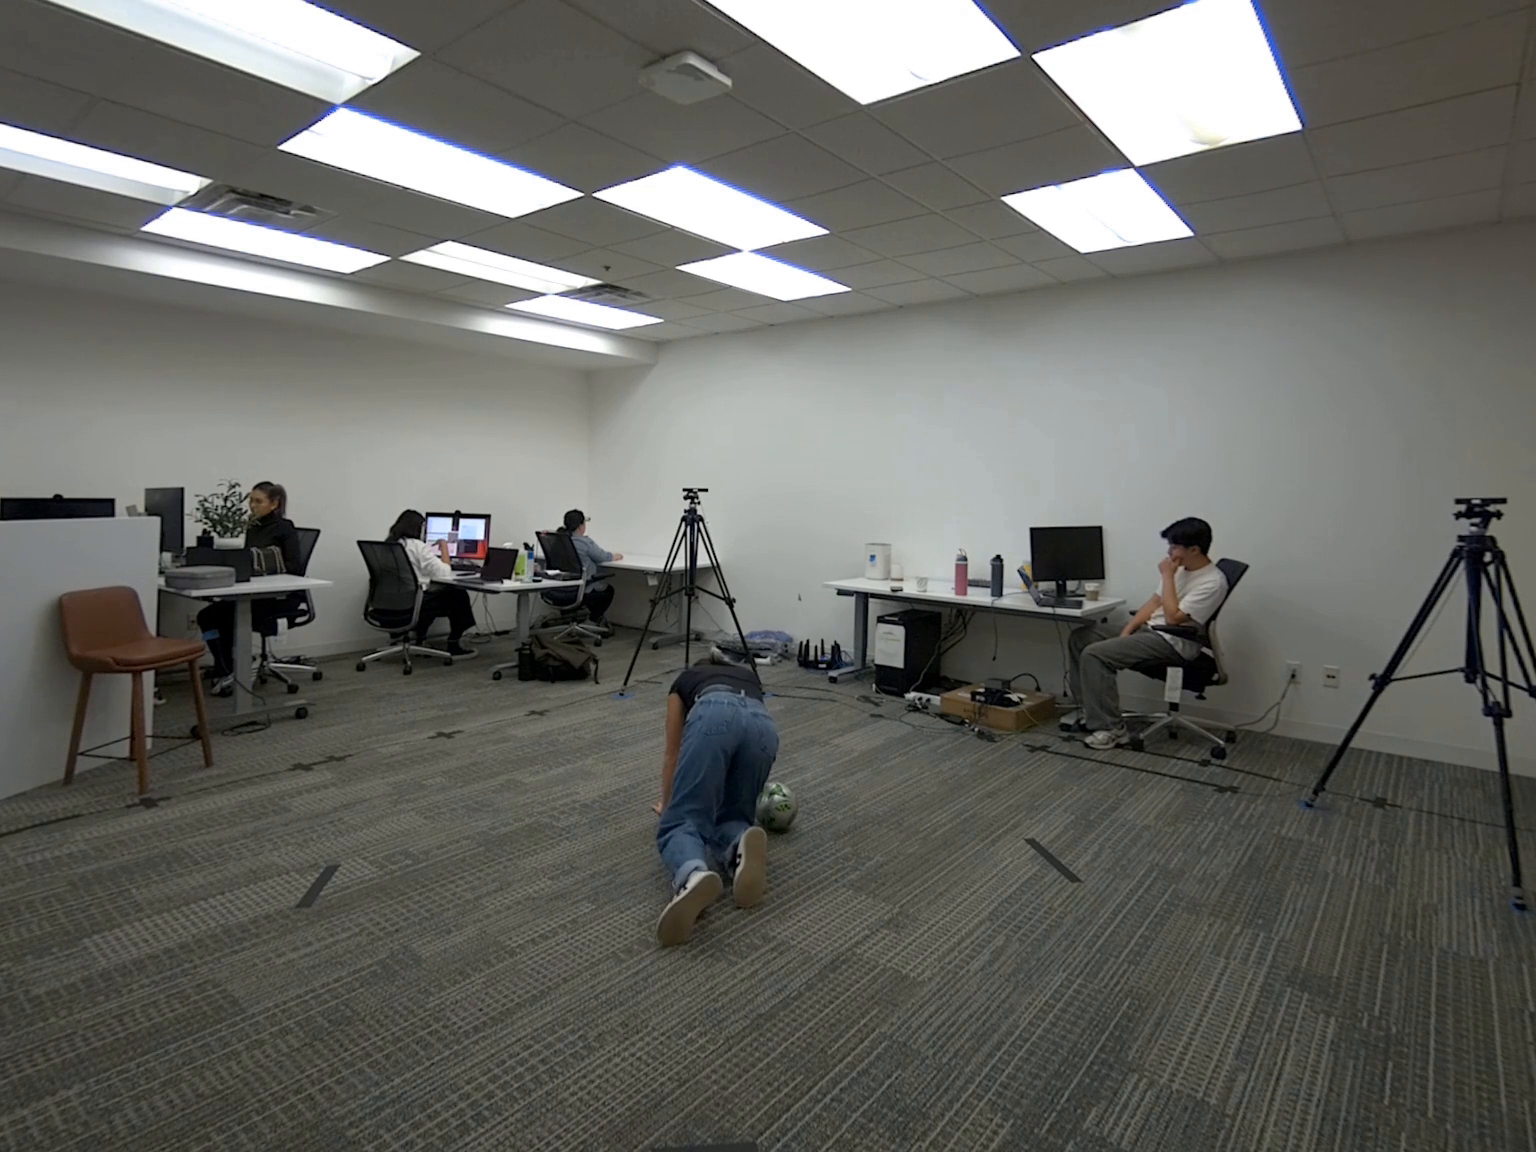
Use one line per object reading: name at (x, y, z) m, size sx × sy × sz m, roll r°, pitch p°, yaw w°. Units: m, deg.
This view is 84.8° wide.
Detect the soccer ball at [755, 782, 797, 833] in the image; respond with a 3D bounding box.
soccer ball at (0.038, 0.933, 3.498) m, size 0.187 × 0.187 × 0.188 m, roll 1°, pitch 4°, yaw -2°
